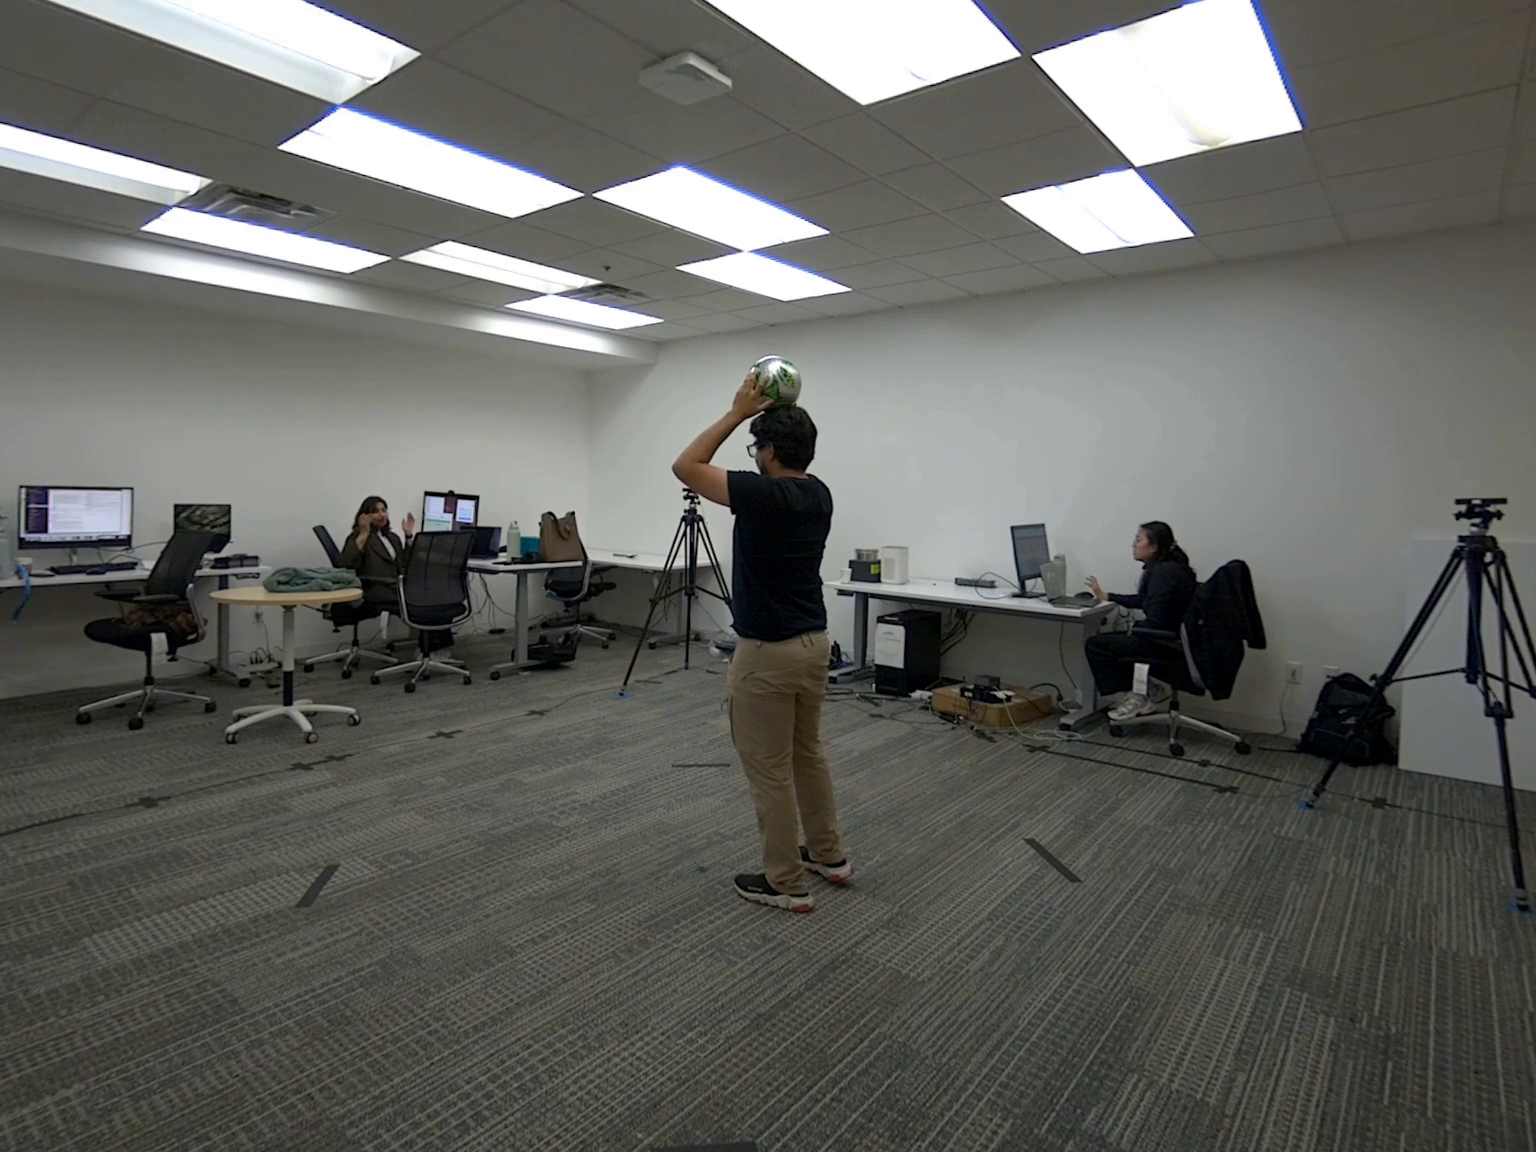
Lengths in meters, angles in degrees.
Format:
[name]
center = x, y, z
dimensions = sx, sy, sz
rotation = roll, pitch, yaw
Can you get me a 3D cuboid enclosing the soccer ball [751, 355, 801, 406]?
[soccer ball]
center = 0.008, -0.635, 2.826
dimensions = 0.187, 0.187, 0.188
rotation = 1, 4, -2
